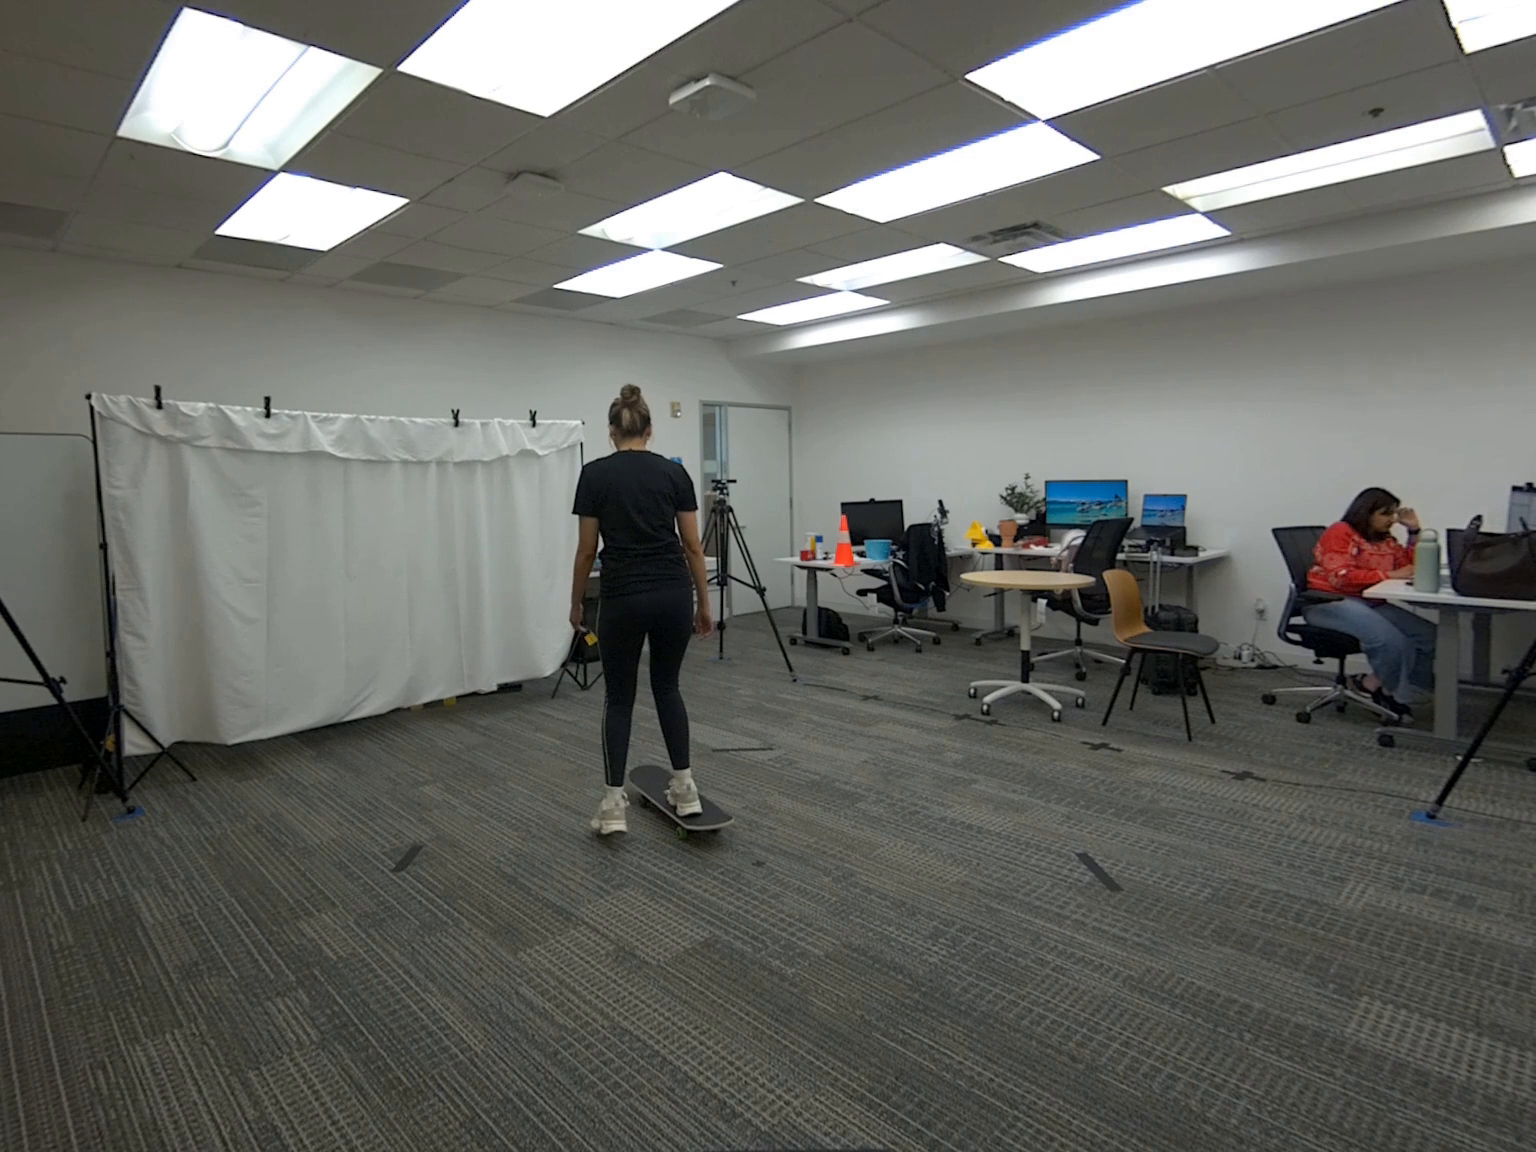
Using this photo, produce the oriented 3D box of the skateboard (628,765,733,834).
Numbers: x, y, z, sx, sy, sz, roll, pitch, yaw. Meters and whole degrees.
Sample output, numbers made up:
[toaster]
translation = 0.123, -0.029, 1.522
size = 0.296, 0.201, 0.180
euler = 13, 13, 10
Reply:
[skateboard]
translation = -0.378, 0.955, 3.550
size = 0.189, 0.110, 0.807
euler = -4, 6, -29
